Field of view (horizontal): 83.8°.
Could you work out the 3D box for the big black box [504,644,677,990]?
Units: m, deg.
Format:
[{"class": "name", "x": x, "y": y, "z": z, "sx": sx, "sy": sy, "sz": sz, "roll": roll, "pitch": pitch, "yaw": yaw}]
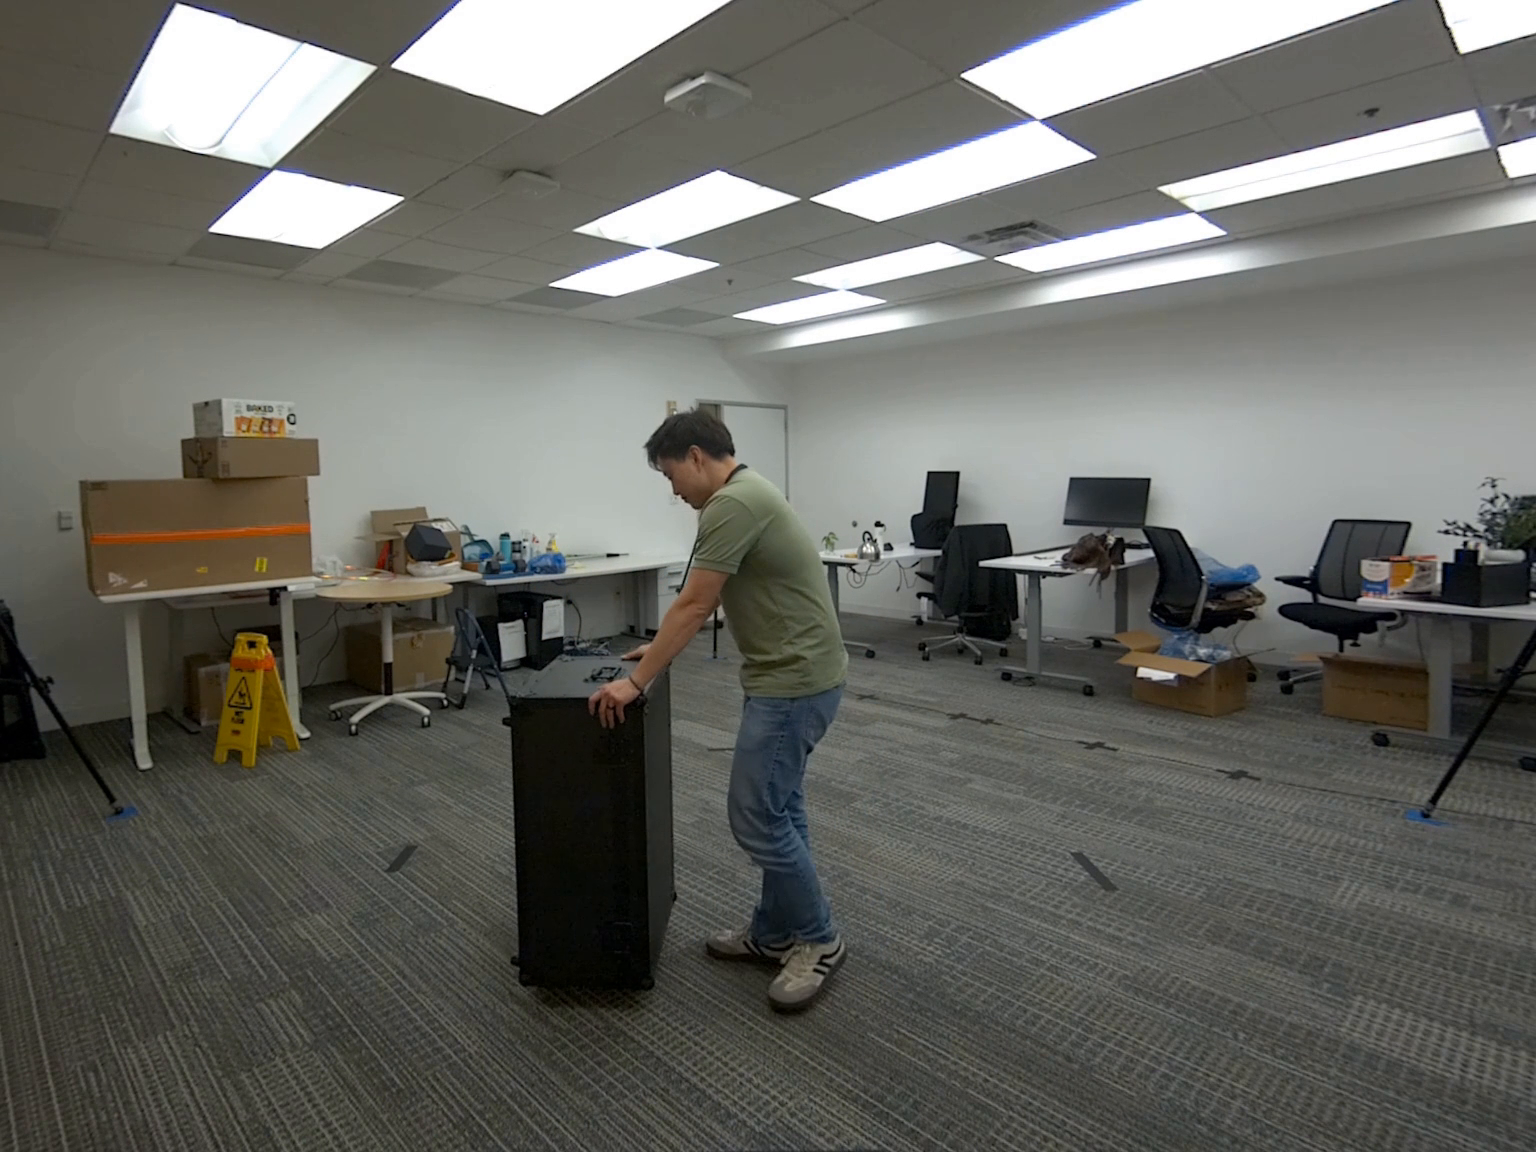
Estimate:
[{"class": "big black box", "x": -0.493, "y": 0.704, "z": 2.455, "sx": 0.398, "sy": 0.858, "sz": 0.521, "roll": -2, "pitch": 5, "yaw": 4}]
